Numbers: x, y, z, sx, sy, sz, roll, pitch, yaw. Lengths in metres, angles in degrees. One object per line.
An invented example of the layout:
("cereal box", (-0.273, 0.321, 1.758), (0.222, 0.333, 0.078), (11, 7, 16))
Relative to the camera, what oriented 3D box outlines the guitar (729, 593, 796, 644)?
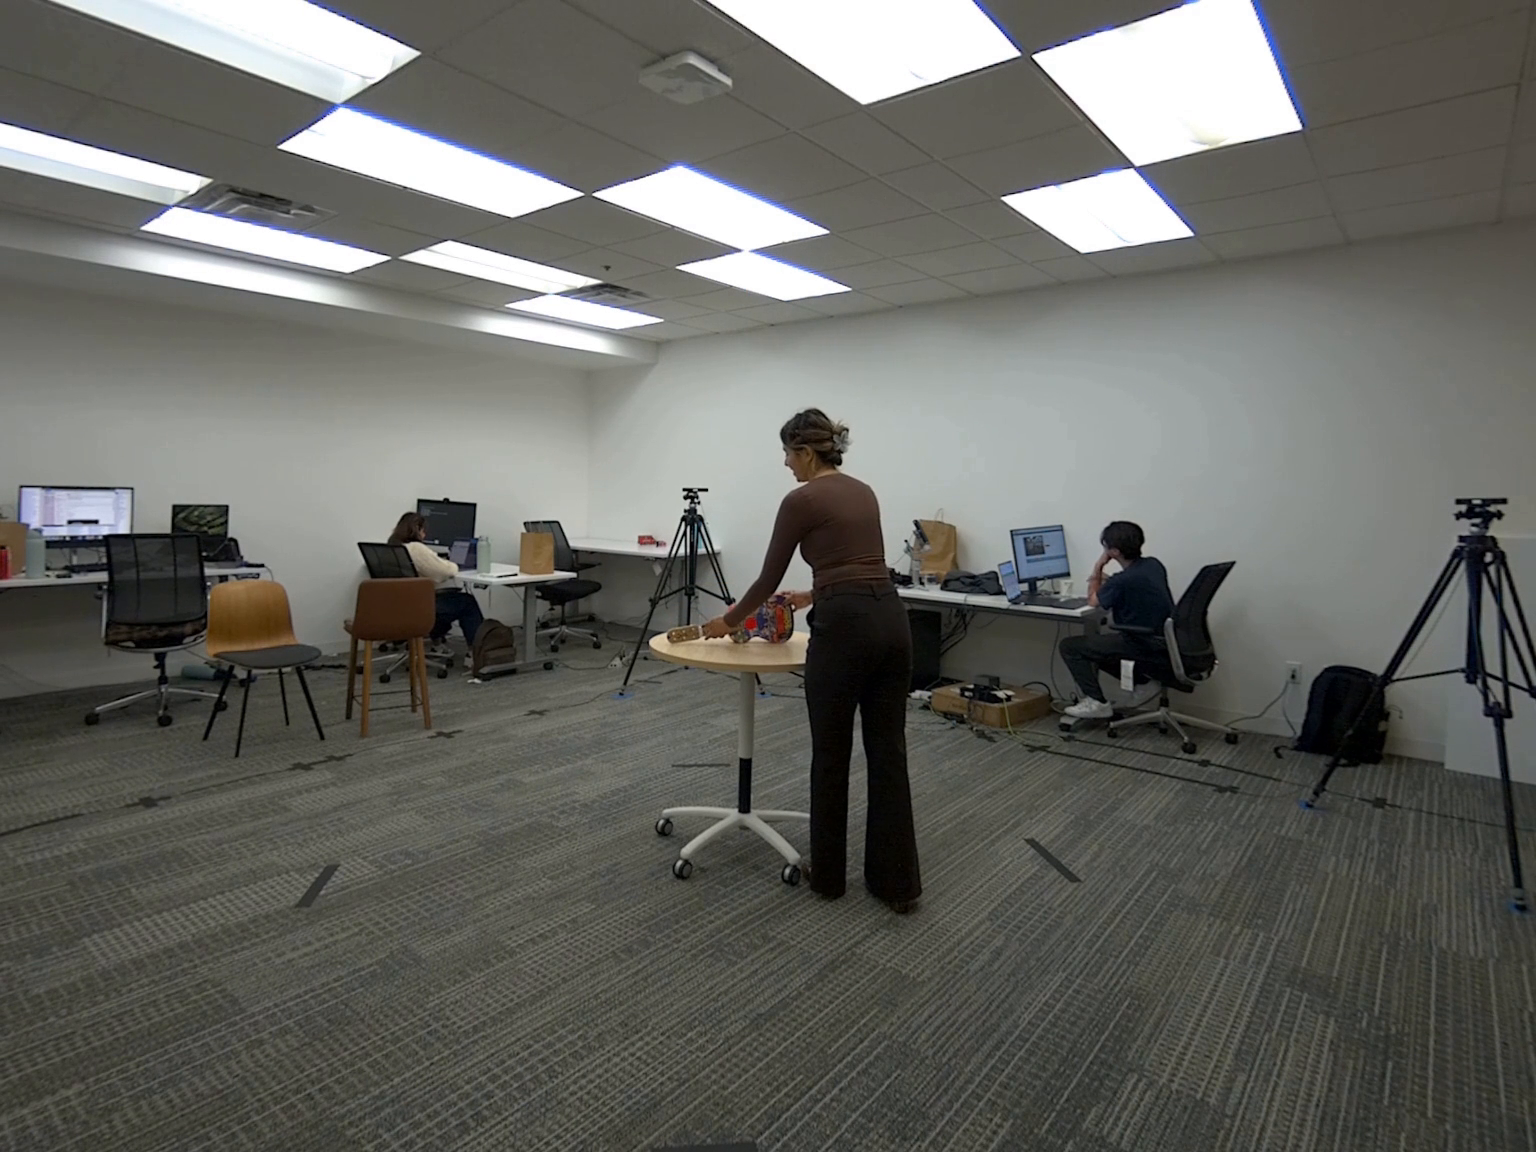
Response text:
("guitar", (-0.155, 0.167, 3.290), (0.492, 0.192, 0.072), (0, 6, -10))
